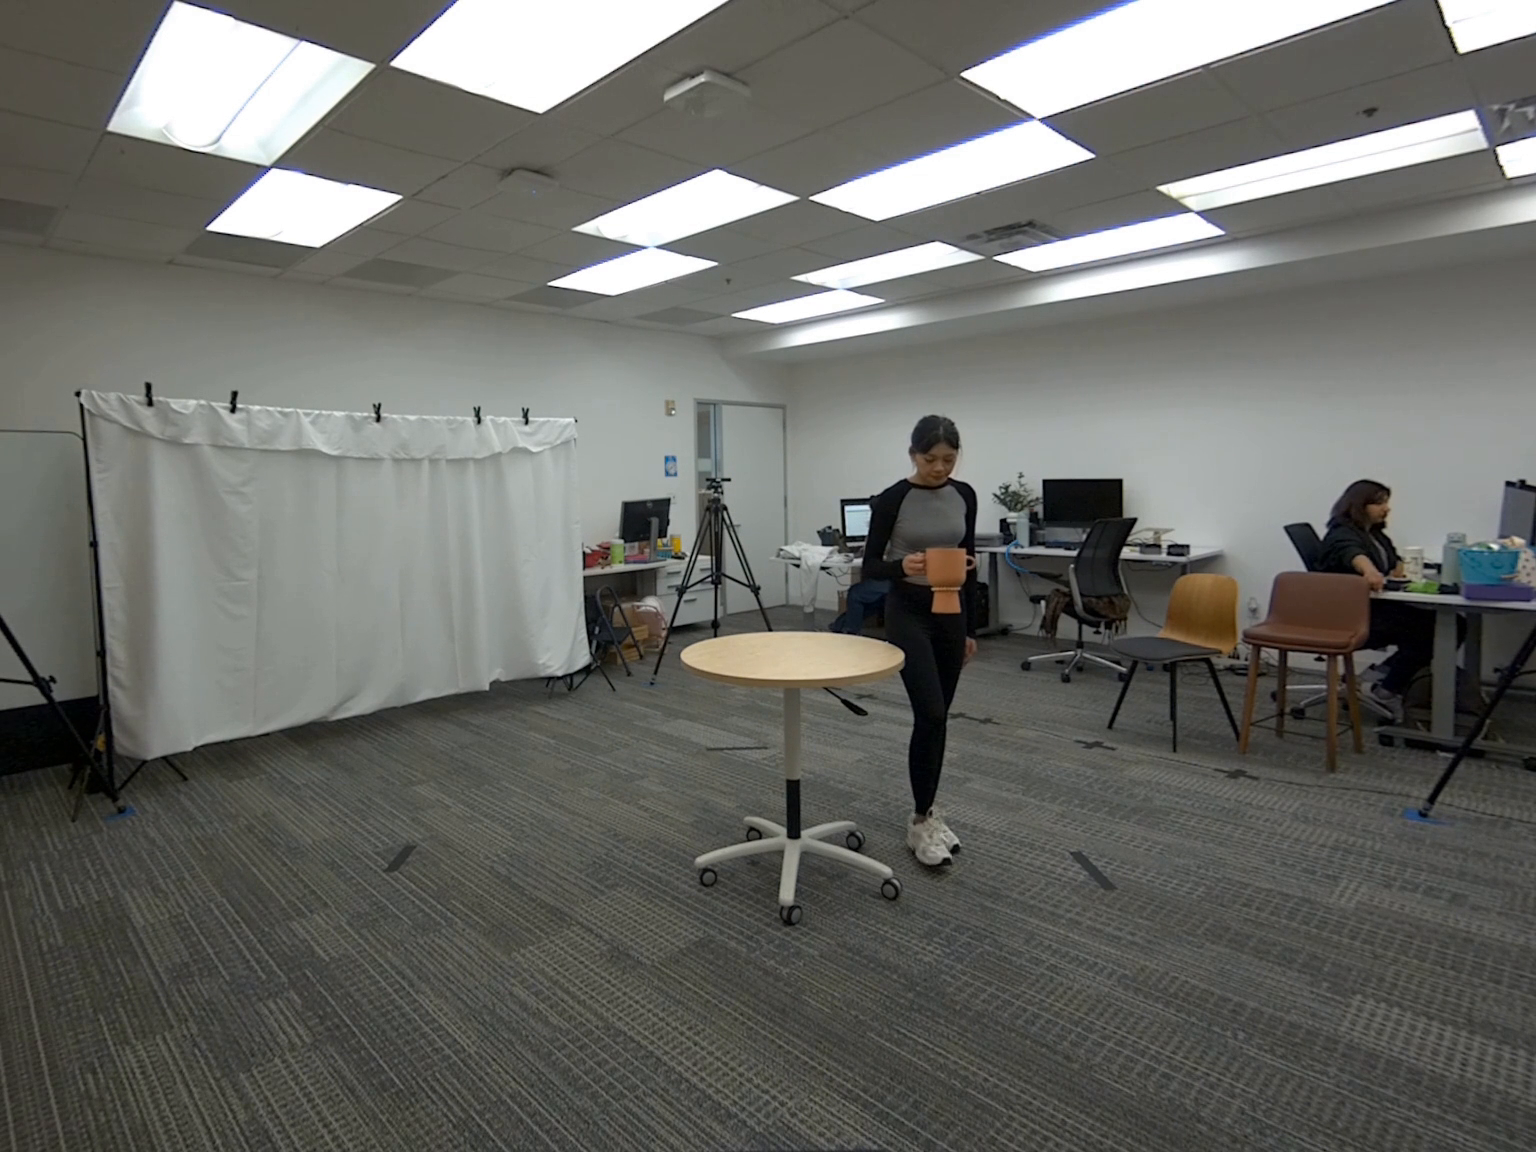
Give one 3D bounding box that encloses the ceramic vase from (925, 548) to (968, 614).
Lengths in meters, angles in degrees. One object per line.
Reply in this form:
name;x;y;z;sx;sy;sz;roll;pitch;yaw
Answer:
ceramic vase;0.620;0.018;2.960;0.131;0.220;0.163;2;0;-38
